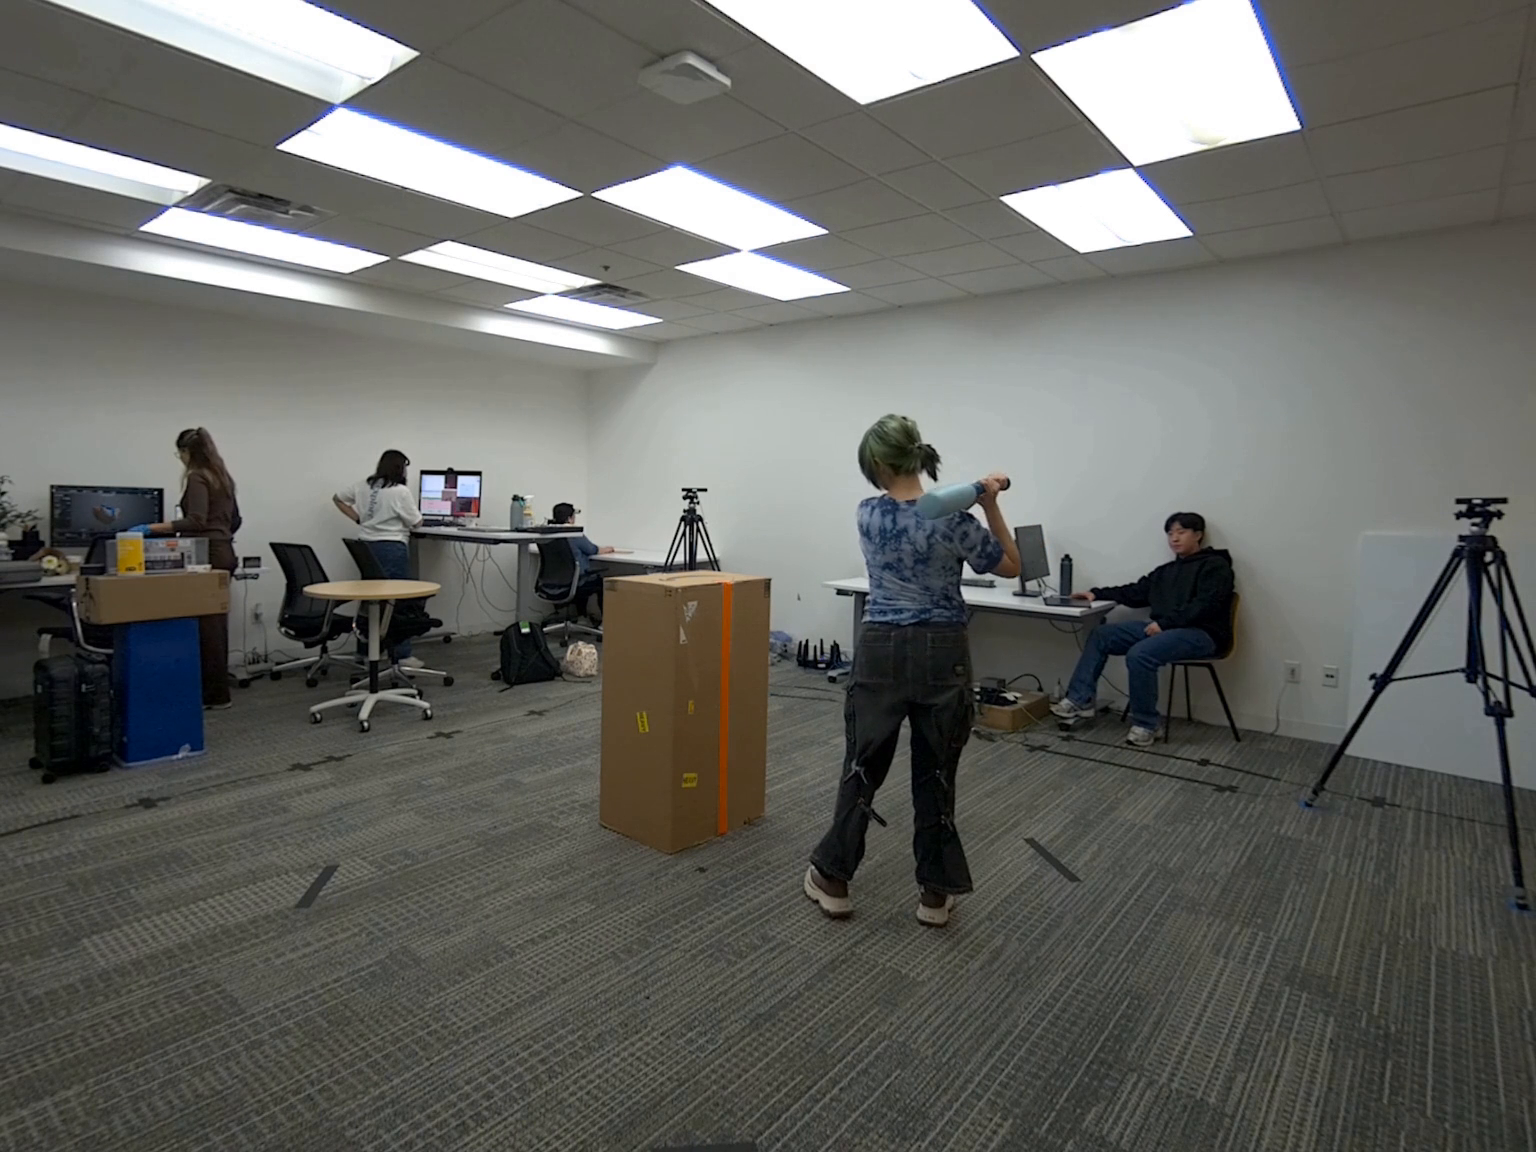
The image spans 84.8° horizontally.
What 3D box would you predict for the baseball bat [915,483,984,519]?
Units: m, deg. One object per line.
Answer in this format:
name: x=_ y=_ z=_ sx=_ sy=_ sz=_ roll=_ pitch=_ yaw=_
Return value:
baseball bat: x=0.627 y=-0.261 z=2.677 sx=0.092 sy=0.088 sz=0.532 roll=4 pitch=15 yaw=37
